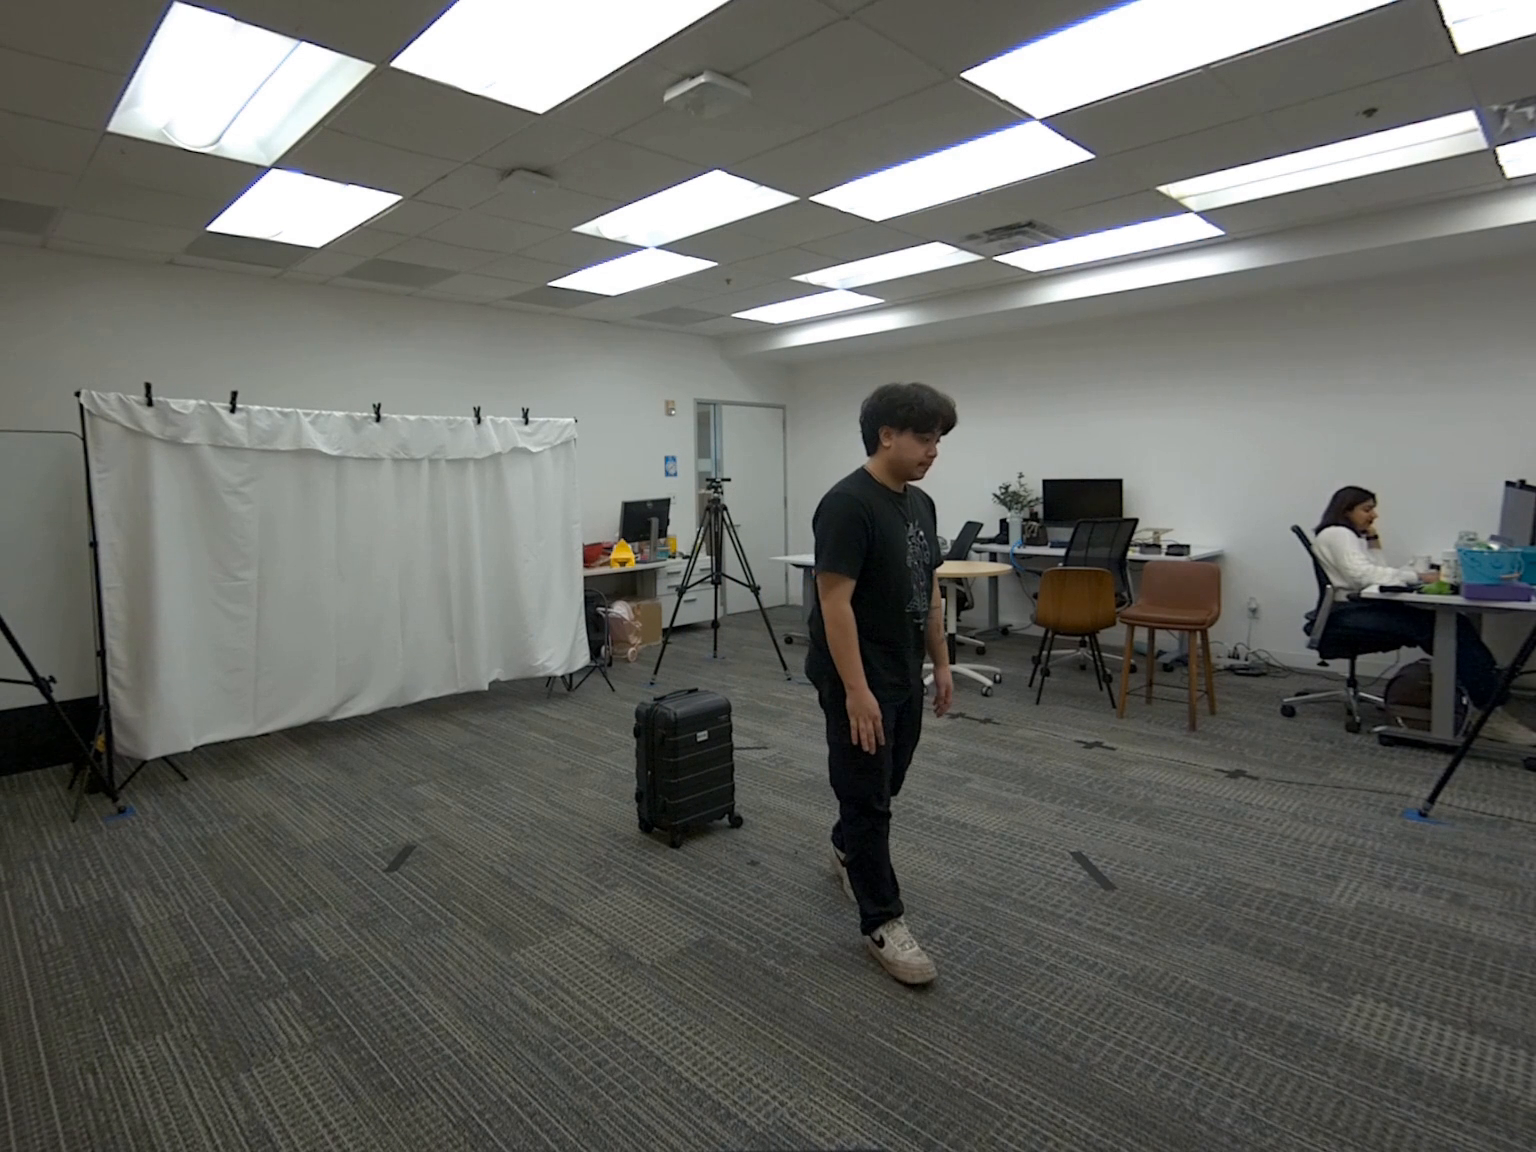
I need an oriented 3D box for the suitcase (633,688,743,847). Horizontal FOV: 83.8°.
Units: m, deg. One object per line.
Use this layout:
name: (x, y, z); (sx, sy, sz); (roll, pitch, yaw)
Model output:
suitcase: (-0.325, 0.736, 3.395); (0.365, 0.547, 0.256); (-5, 6, -42)
